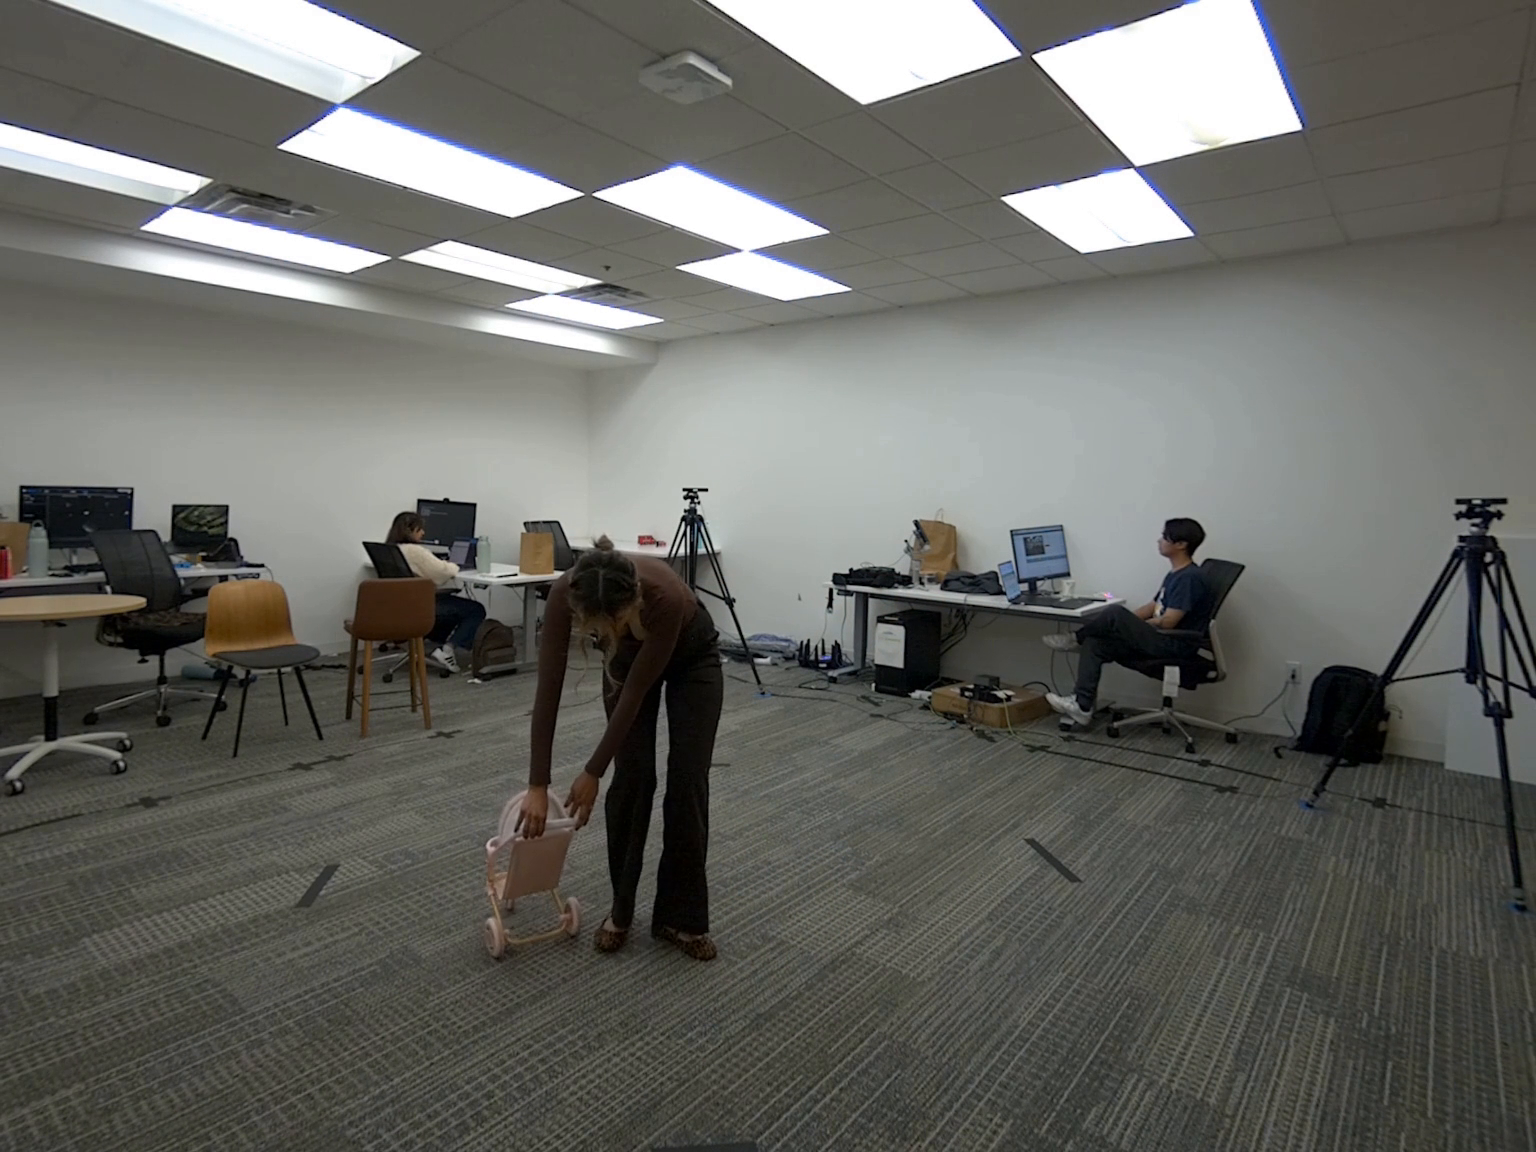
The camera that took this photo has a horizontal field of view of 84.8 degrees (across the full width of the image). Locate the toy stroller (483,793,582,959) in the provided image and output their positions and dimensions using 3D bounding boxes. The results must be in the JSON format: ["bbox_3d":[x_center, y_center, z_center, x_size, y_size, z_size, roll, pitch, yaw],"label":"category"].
[{"bbox_3d":[-0.746,0.884,2.624,0.274,0.528,0.355,0,20,-30],"label":"toy stroller"}]
